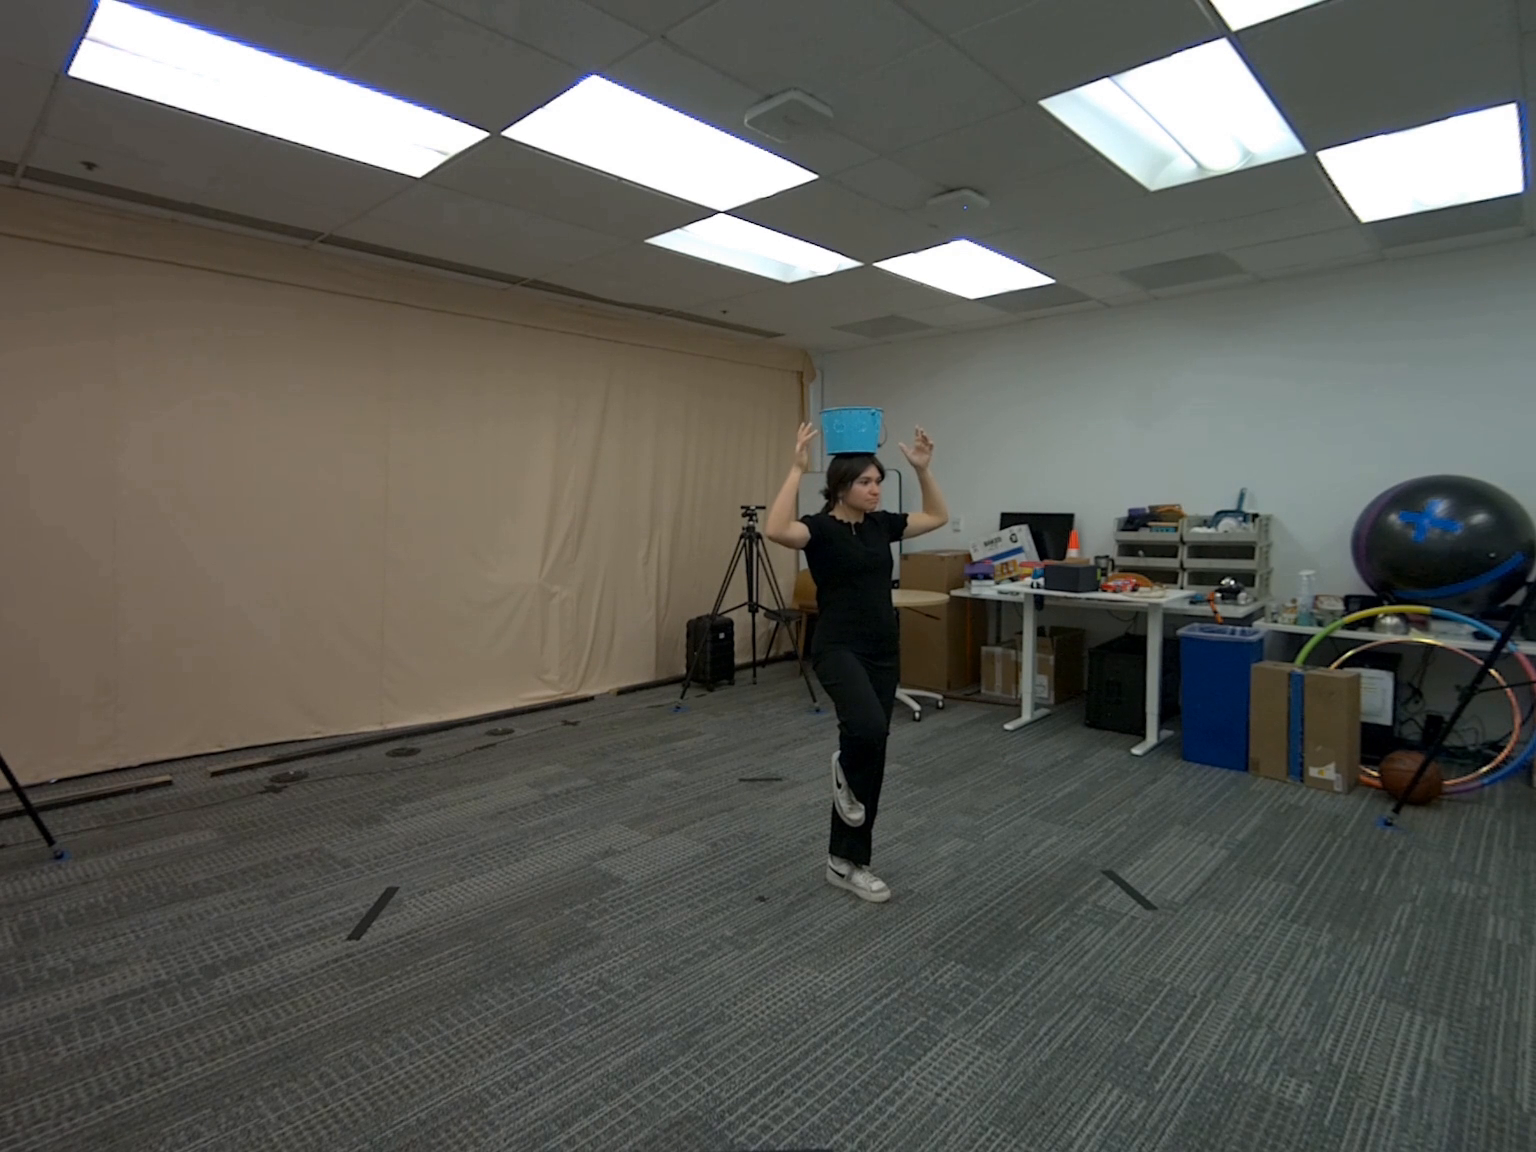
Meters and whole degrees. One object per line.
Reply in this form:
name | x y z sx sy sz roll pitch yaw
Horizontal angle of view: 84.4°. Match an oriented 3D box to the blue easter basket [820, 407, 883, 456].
blue easter basket | 0.305 -0.515 3.031 0.243 0.156 0.244 1 3 -2
